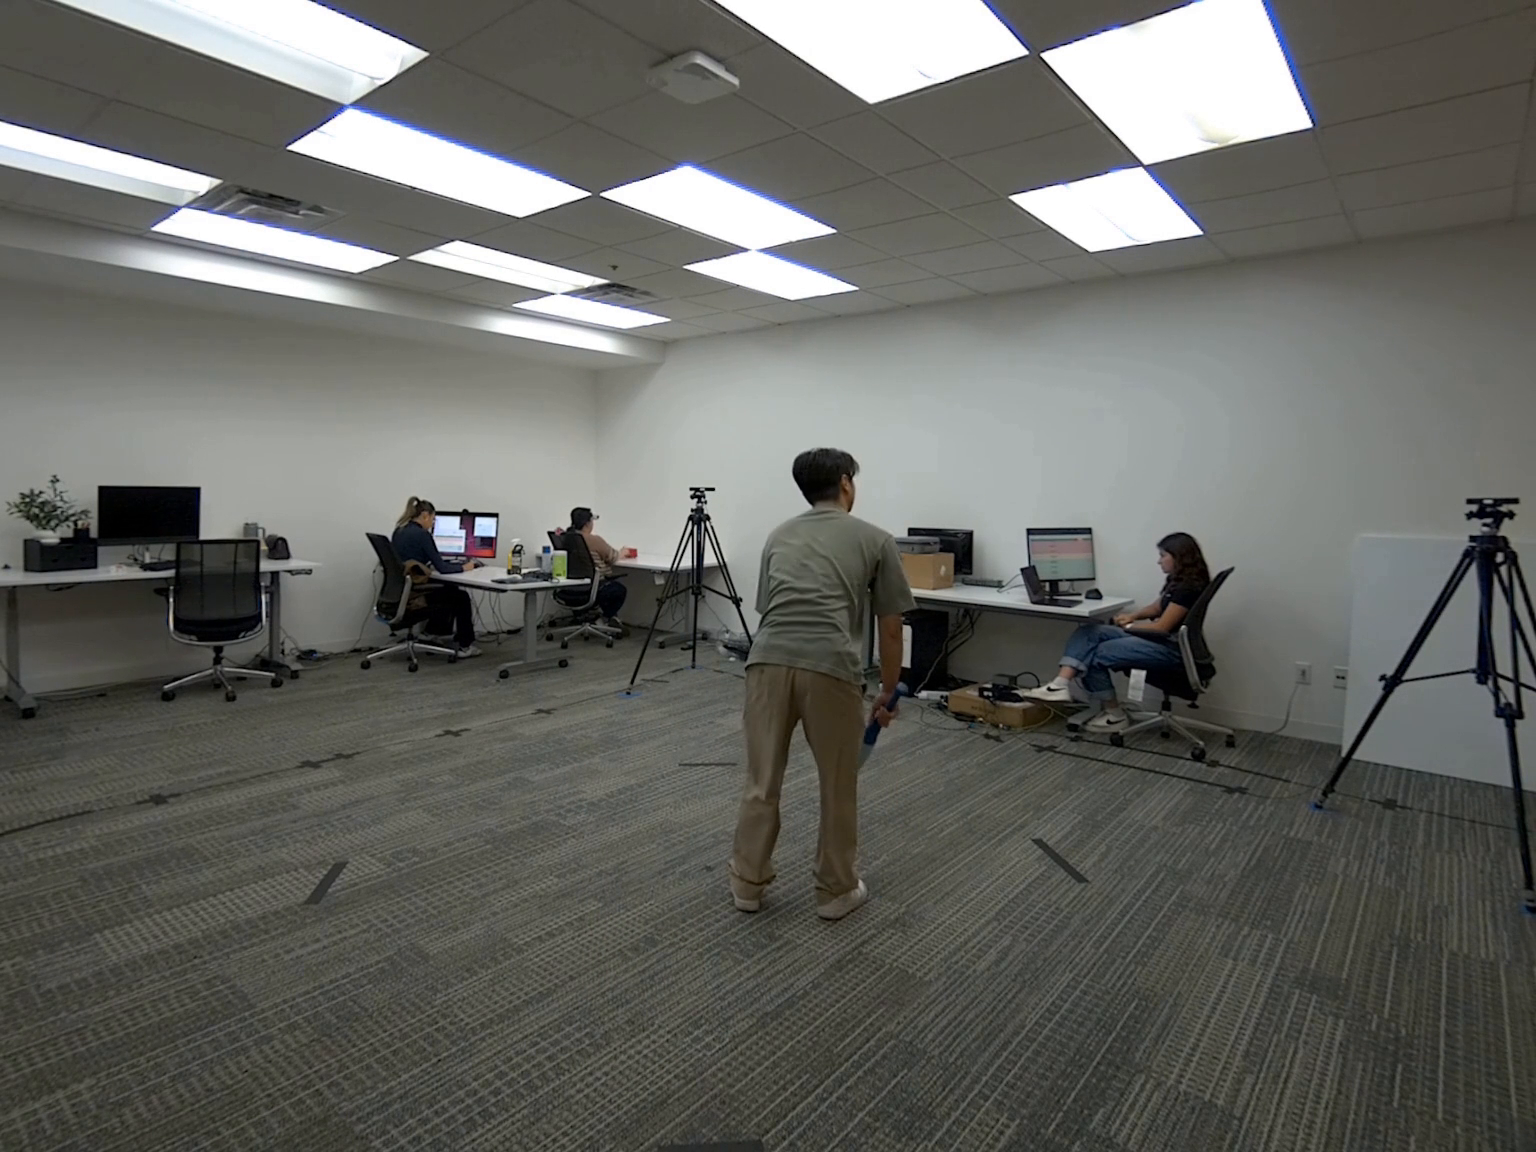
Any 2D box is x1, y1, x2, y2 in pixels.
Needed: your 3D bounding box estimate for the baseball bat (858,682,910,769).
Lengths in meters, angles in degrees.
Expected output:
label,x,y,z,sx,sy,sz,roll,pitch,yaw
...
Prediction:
label,x,y,z,sx,sy,sz,roll,pitch,yaw
baseball bat,0.364,0.556,3.017,0.087,0.536,0.092,15,40,-15
